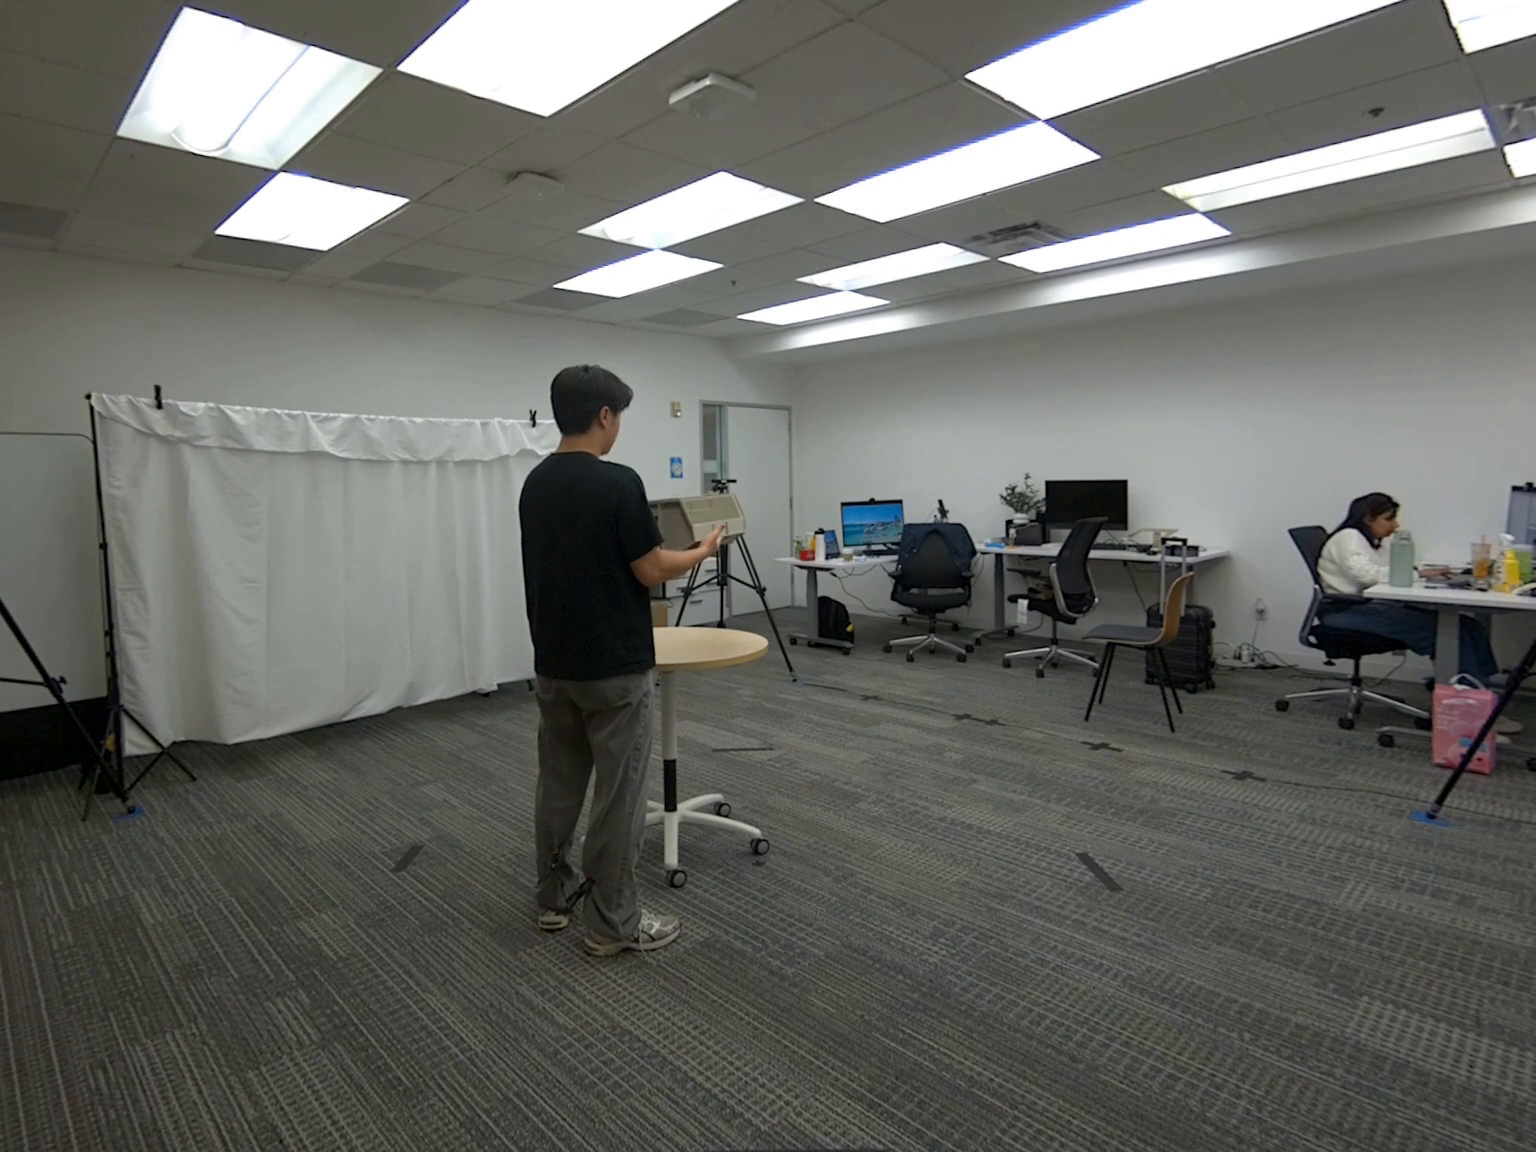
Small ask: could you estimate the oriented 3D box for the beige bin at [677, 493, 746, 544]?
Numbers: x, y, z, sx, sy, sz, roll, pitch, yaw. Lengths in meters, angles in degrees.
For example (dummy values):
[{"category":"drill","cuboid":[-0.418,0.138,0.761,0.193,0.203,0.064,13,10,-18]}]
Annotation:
[{"category":"beige bin","cuboid":[-0.323,-0.172,2.911,0.385,0.188,0.415,-6,5,24]}]
